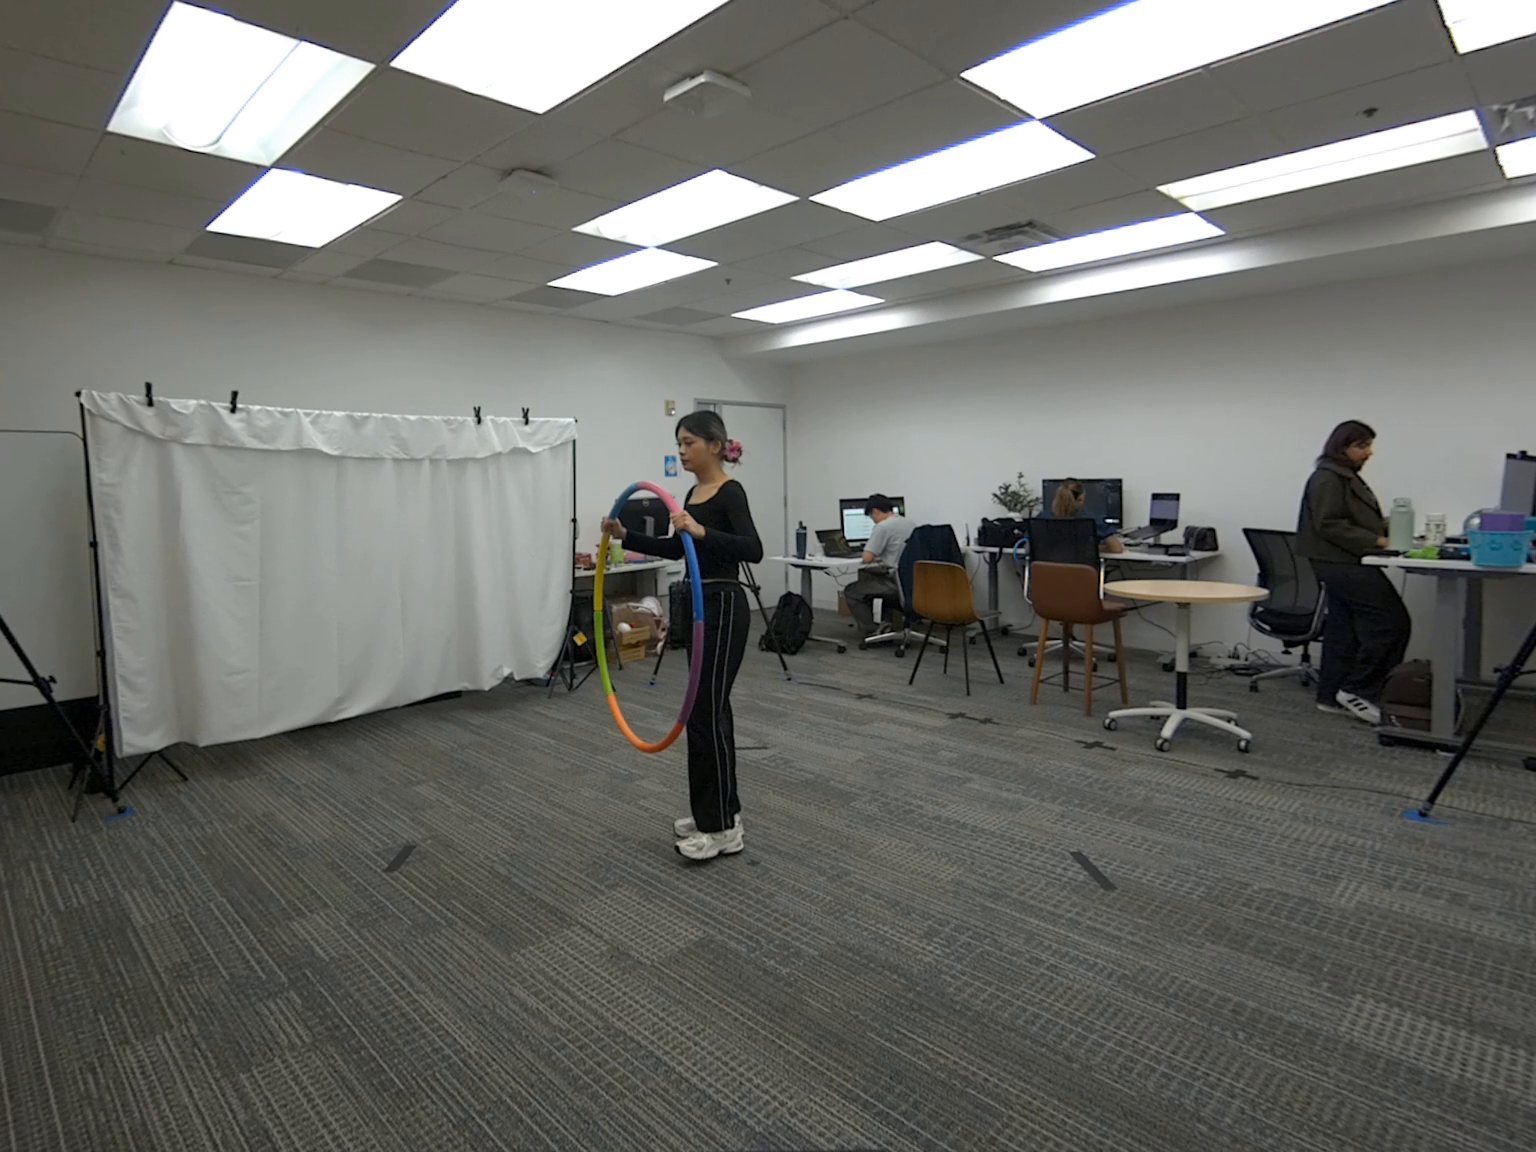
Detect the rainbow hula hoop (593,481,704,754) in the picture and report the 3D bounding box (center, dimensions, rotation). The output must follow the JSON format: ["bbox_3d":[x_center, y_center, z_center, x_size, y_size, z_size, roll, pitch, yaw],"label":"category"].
[{"bbox_3d":[-0.465,0.143,3.183,0.034,0.977,1.005,2,3,-30],"label":"rainbow hula hoop"}]
